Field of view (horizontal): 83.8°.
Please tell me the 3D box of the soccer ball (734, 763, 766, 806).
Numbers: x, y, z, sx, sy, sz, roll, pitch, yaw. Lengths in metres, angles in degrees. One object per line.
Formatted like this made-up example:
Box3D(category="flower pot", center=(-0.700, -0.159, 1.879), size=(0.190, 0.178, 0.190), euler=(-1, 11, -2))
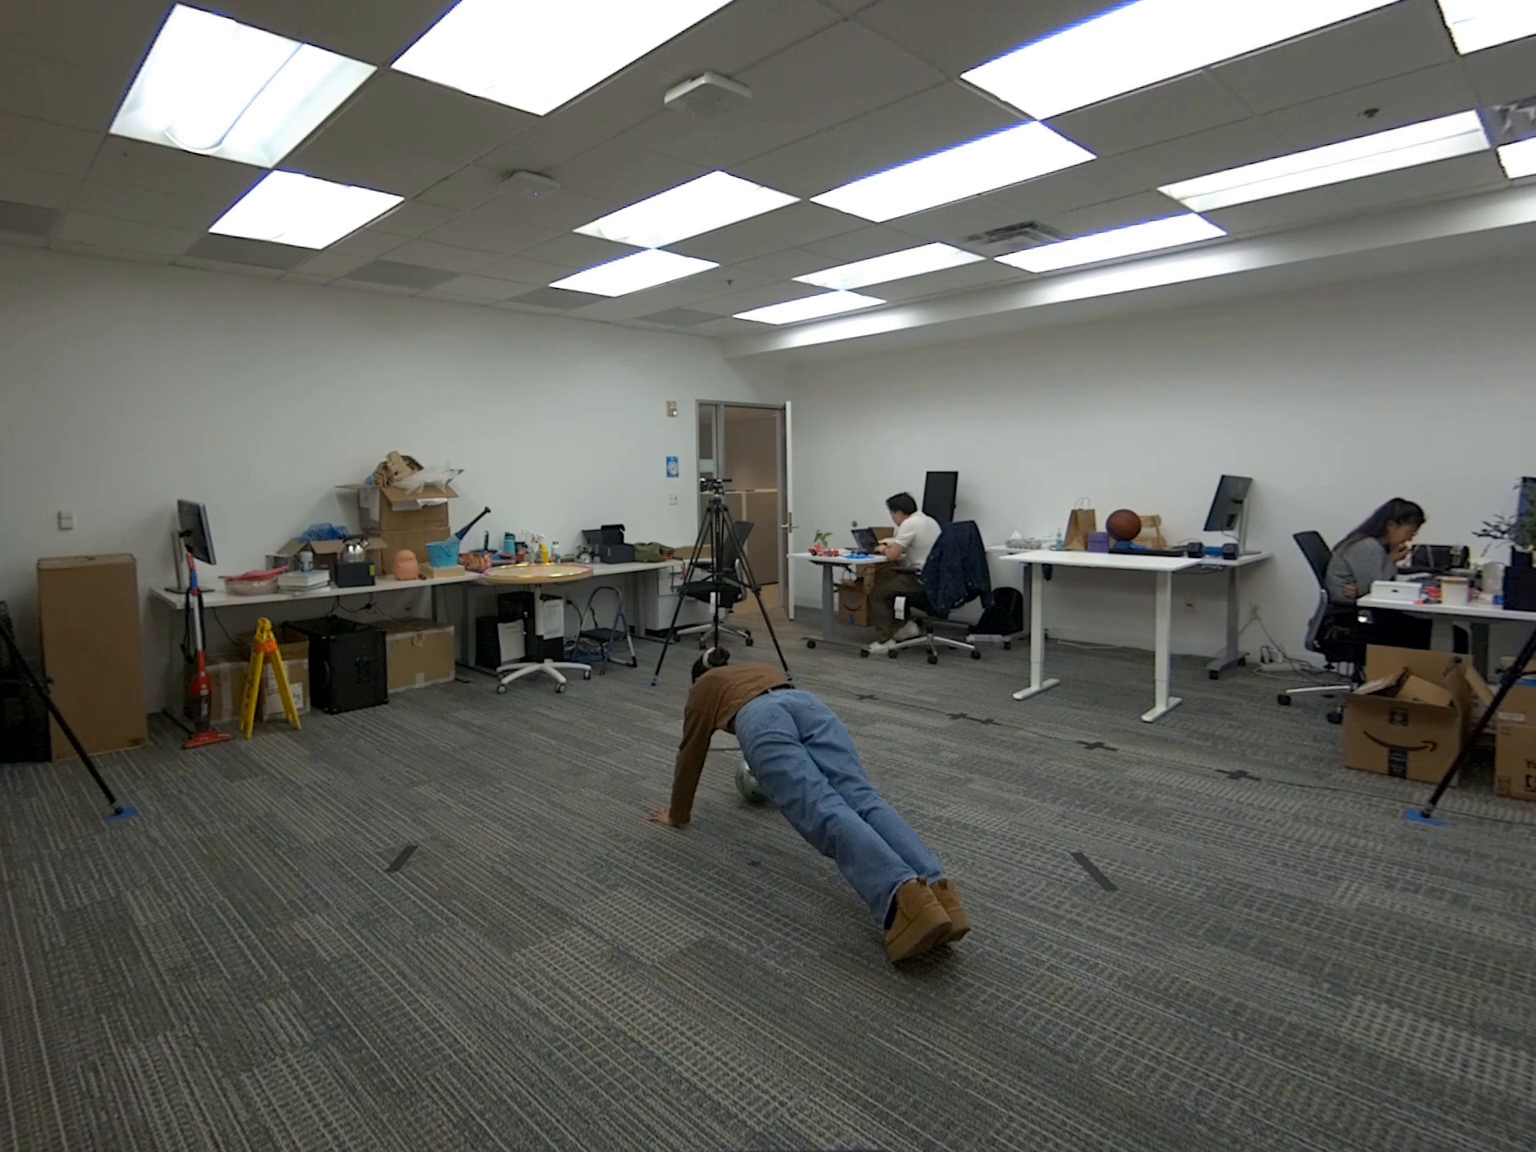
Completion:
Box3D(category="soccer ball", center=(-0.046, 0.885, 3.711), size=(0.187, 0.187, 0.188), euler=(-1, 5, -2))
